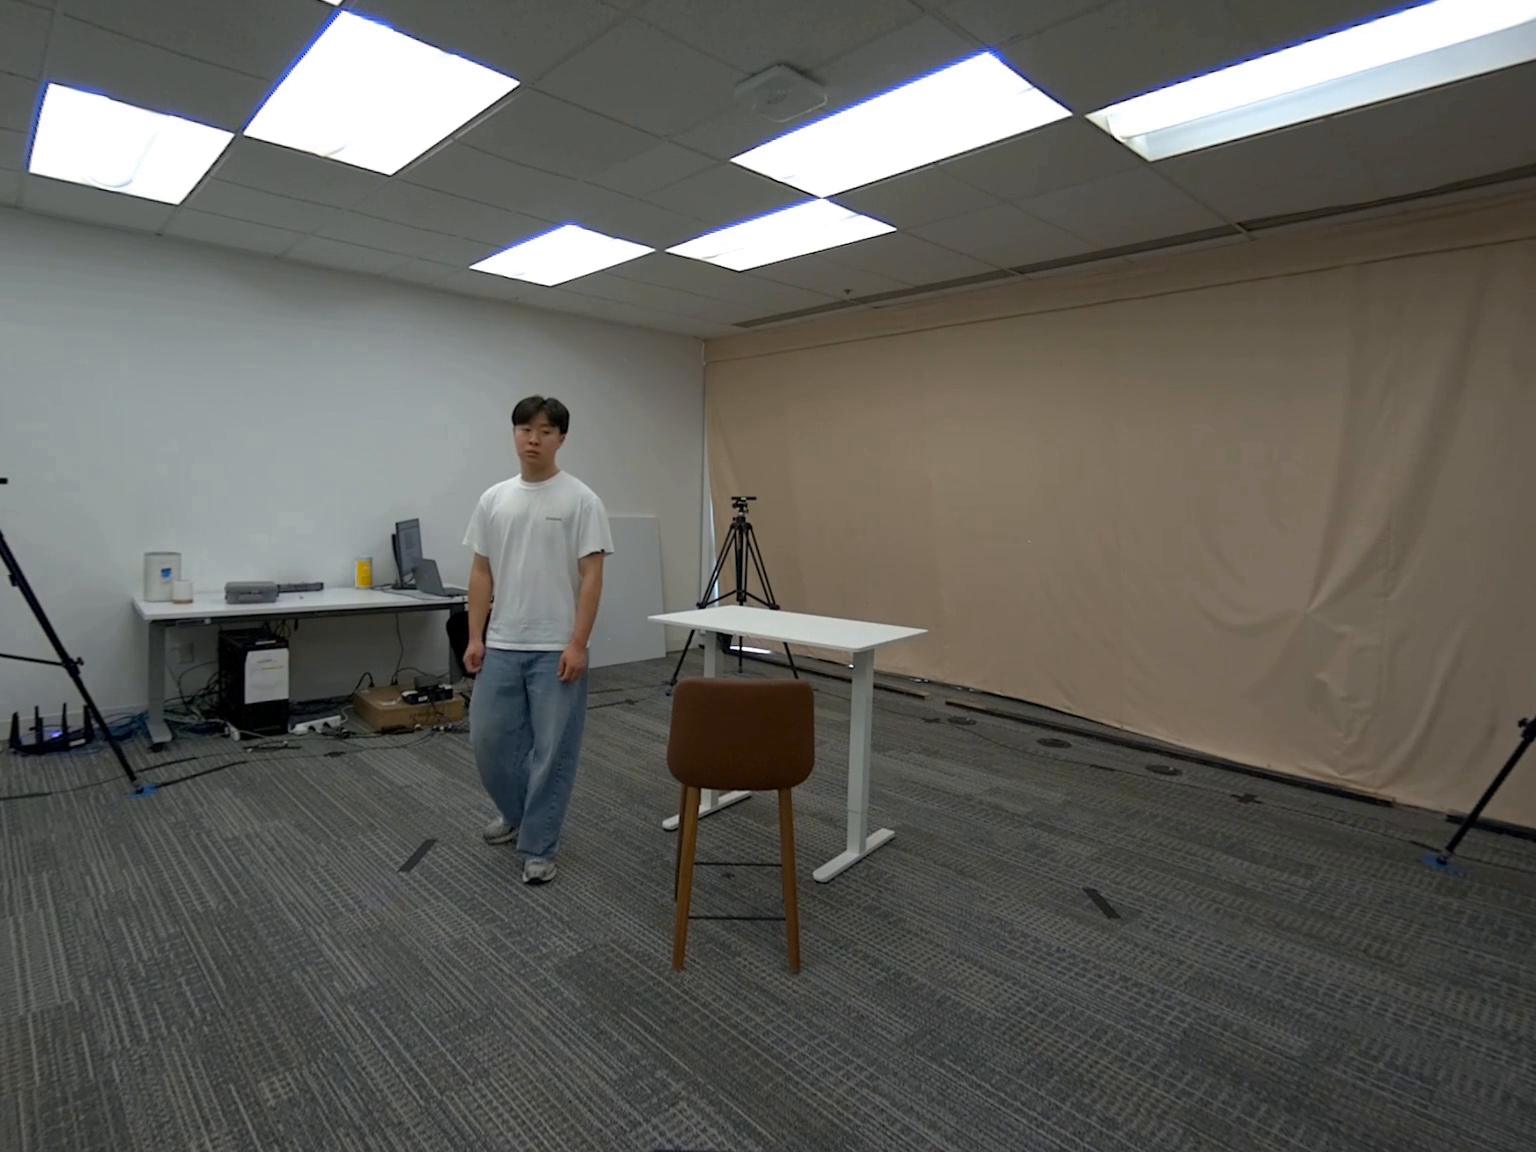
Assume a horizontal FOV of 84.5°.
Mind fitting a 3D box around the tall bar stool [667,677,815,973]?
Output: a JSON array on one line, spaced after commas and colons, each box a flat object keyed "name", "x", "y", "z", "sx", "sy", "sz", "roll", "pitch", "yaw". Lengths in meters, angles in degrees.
[{"name": "tall bar stool", "x": -0.106, "y": 0.714, "z": 2.662, "sx": 0.455, "sy": 0.886, "sz": 0.470, "roll": 1, "pitch": 5, "yaw": -4}]
